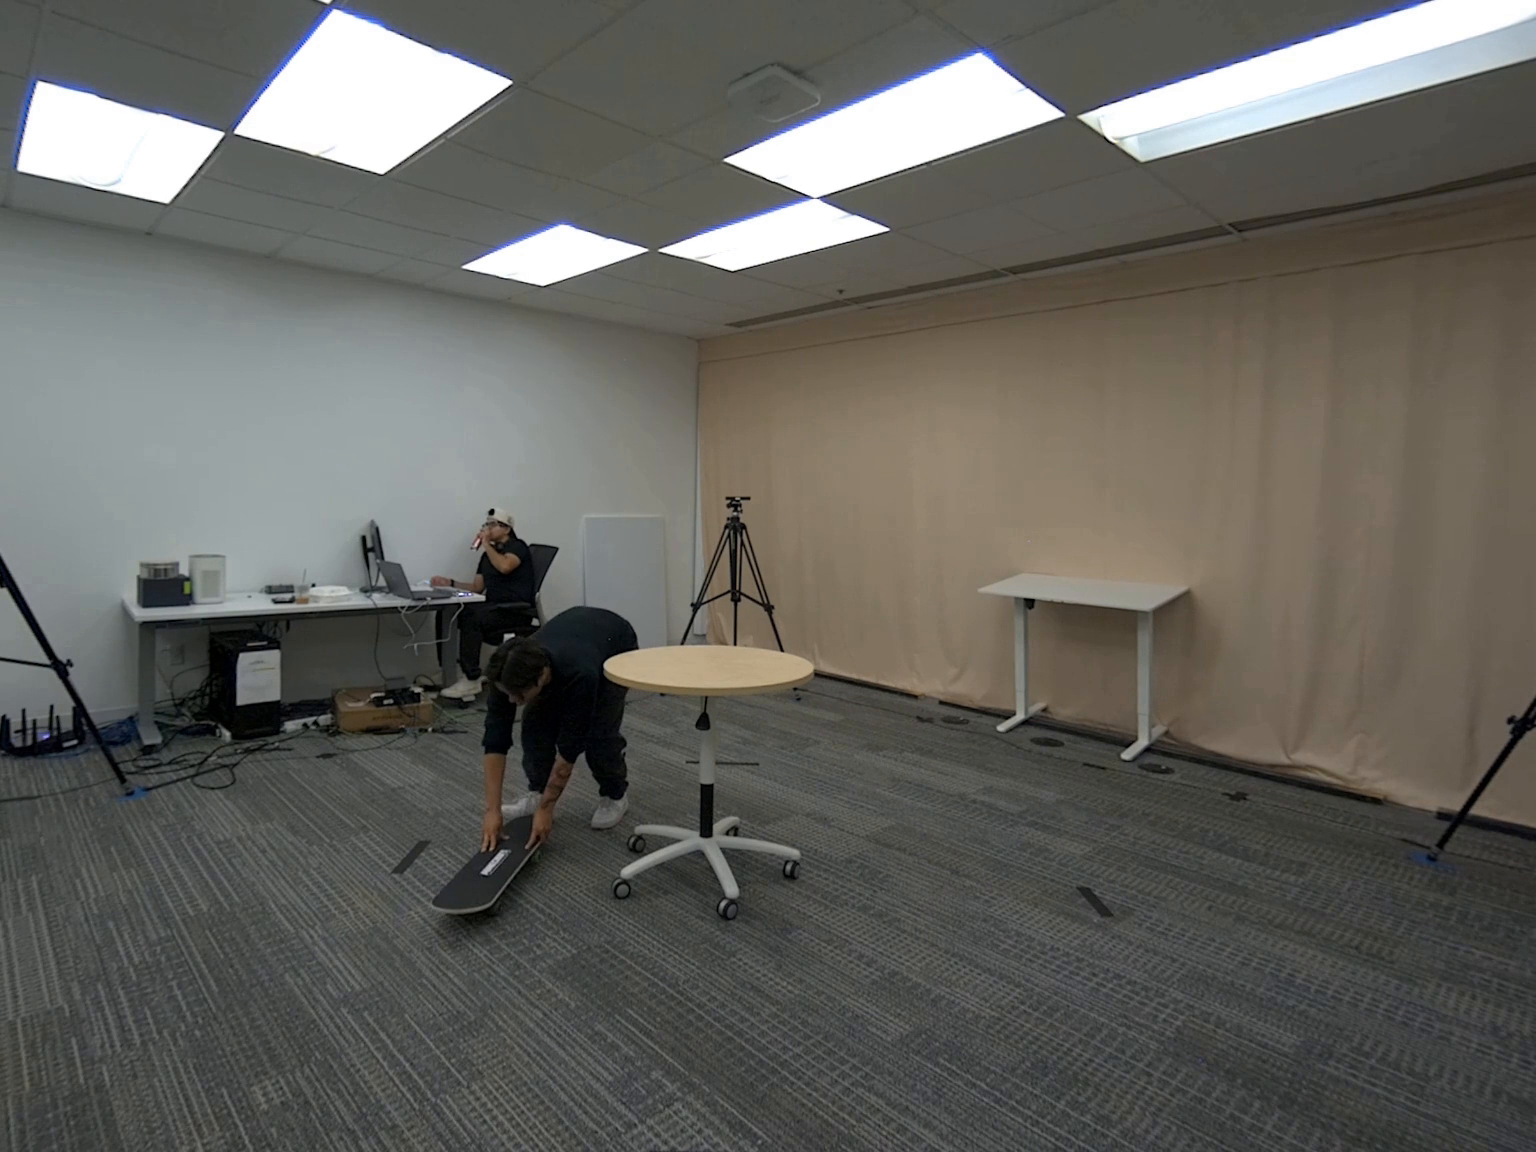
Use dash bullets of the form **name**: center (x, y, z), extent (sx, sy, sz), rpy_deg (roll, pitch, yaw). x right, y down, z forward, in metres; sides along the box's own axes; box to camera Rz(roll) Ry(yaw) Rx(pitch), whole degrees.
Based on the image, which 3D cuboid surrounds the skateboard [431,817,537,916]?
- **skateboard**: center (-0.964, 1.045, 2.976), extent (0.194, 0.110, 0.785), rpy_deg (0, 5, 3)
